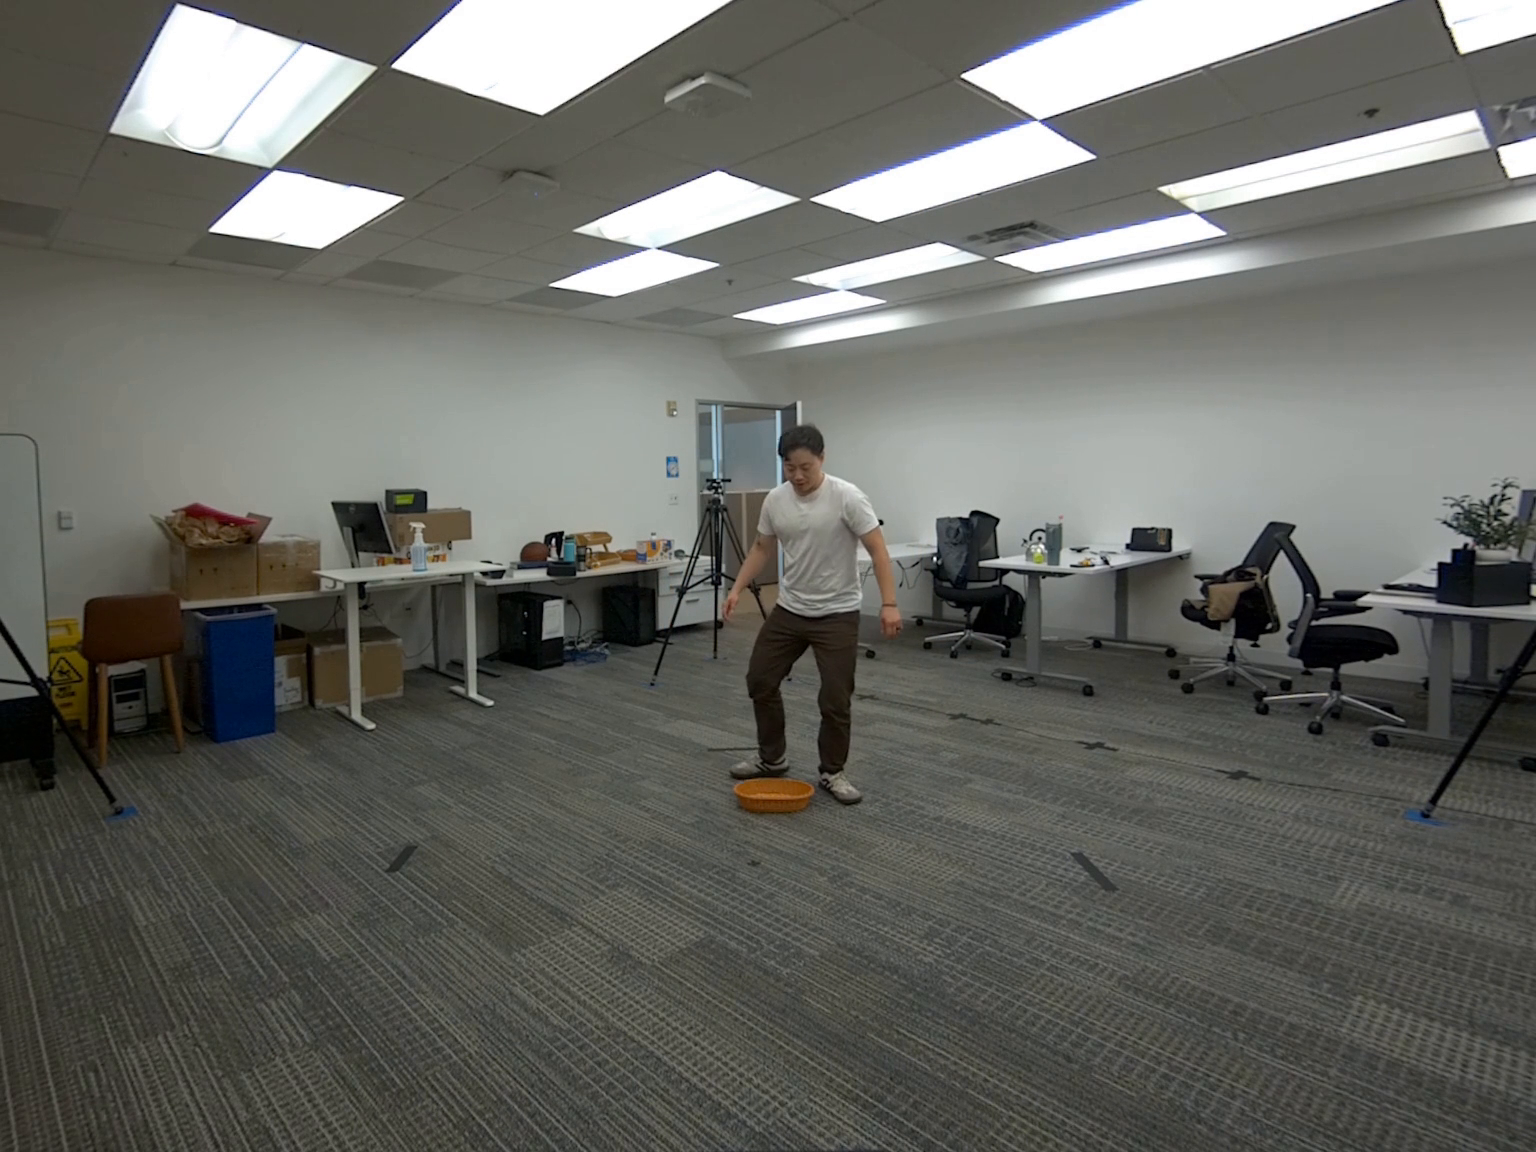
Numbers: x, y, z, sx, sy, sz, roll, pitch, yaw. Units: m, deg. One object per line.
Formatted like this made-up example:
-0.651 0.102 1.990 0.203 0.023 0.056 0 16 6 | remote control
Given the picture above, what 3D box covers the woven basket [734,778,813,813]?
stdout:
0.024 0.942 3.660 0.352 0.073 0.252 0 5 5 | woven basket
